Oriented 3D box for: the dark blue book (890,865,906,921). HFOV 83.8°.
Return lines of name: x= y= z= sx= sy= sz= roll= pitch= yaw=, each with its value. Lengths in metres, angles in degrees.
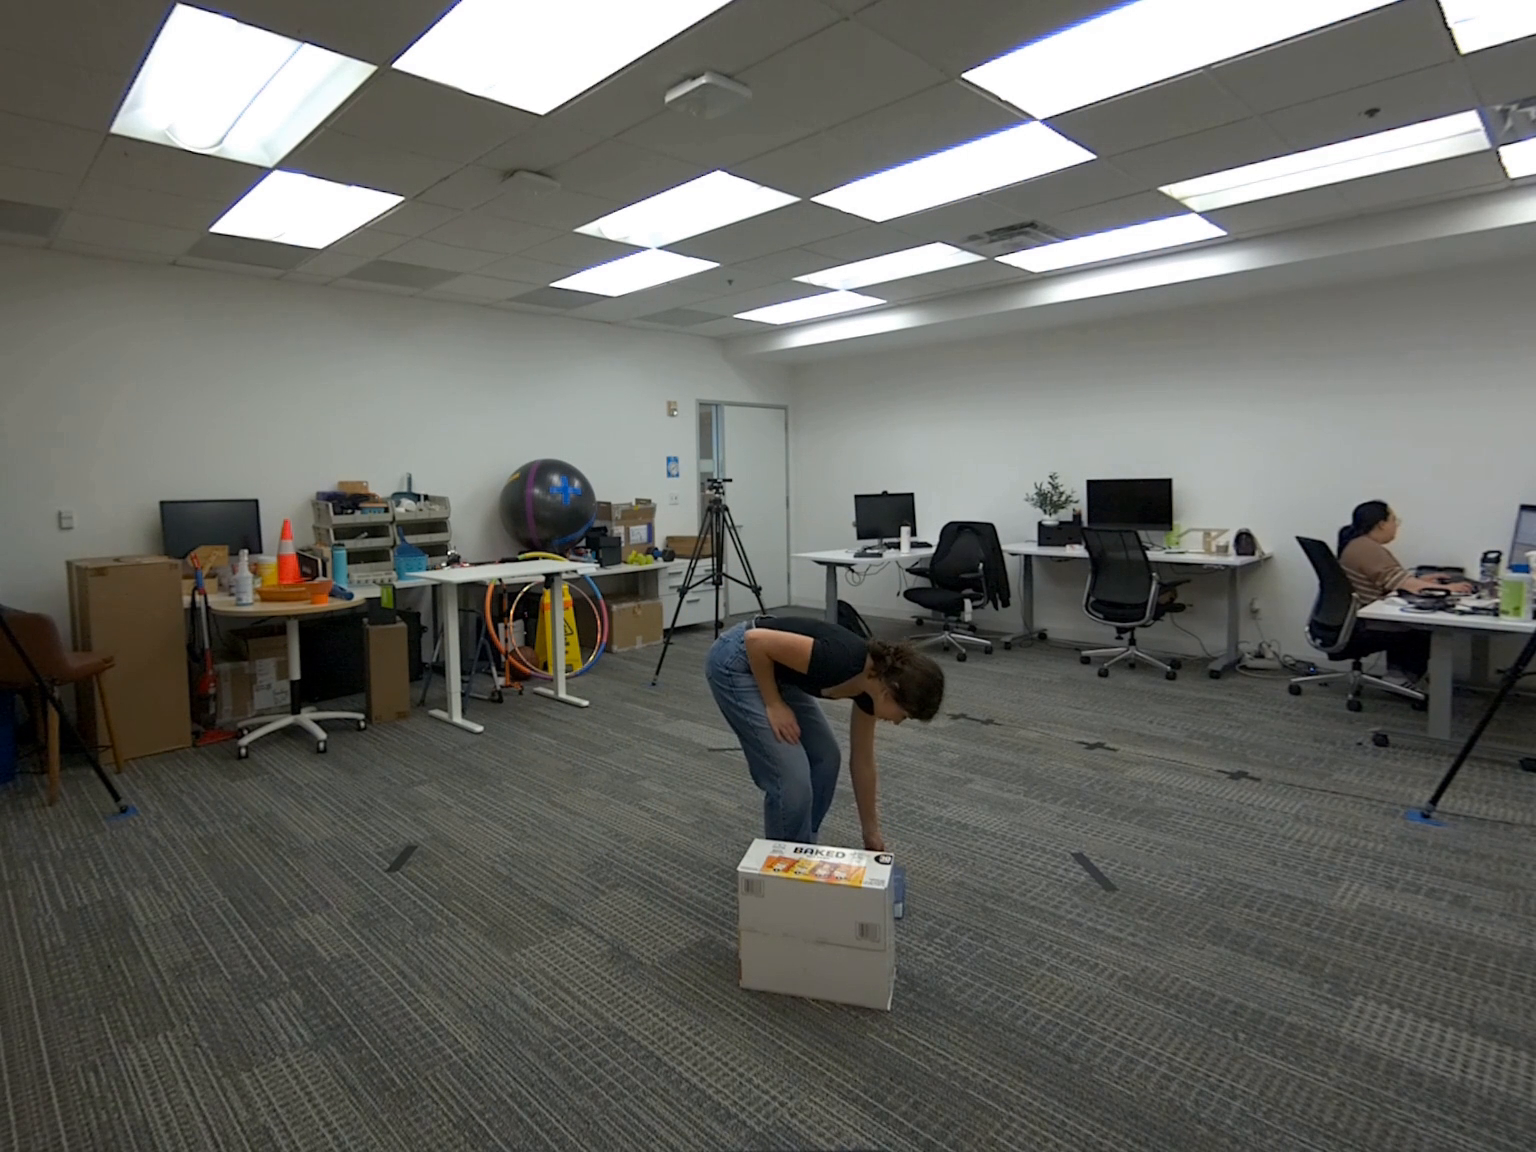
dark blue book: x=0.366 y=1.032 z=2.826 sx=0.165 sy=0.045 sz=0.243 roll=-1 pitch=6 yaw=12
